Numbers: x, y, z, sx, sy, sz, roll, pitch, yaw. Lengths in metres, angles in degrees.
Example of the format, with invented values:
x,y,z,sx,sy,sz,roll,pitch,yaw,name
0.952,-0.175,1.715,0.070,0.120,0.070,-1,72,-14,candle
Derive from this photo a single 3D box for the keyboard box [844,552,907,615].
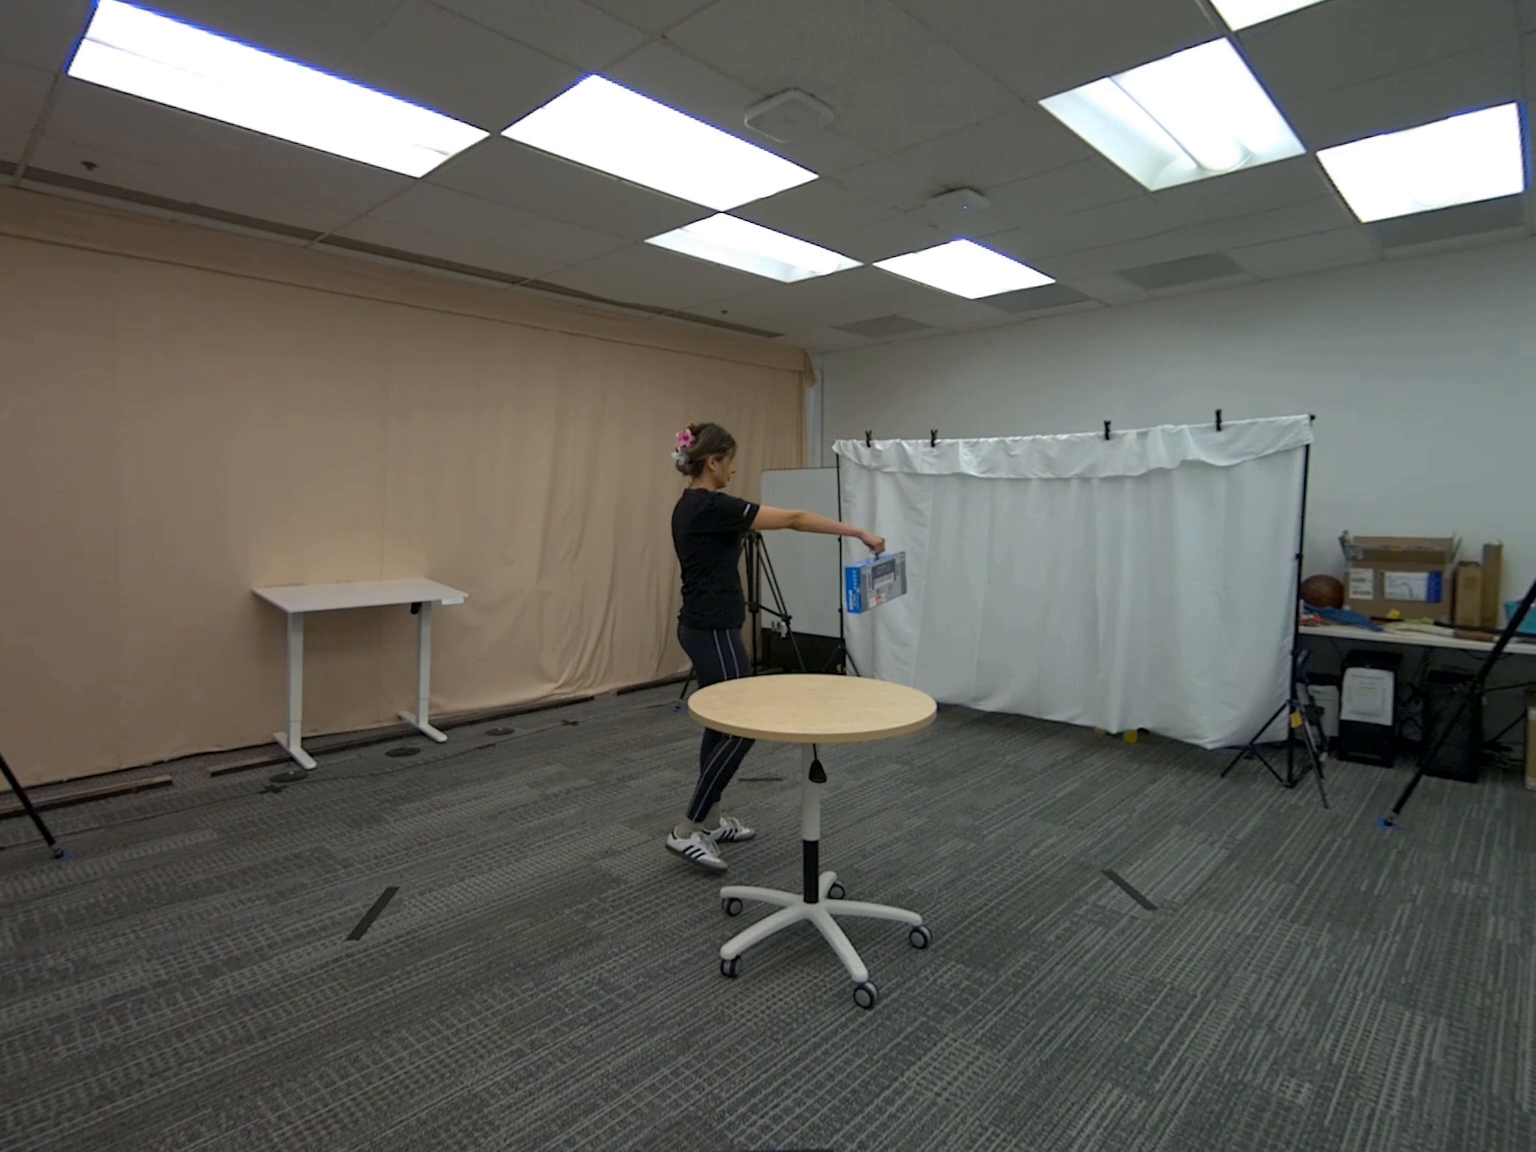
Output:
x,y,z,sx,sy,sz,roll,pitch,yaw,name
0.424,0.023,3.237,0.061,0.175,0.426,2,9,32,keyboard box
